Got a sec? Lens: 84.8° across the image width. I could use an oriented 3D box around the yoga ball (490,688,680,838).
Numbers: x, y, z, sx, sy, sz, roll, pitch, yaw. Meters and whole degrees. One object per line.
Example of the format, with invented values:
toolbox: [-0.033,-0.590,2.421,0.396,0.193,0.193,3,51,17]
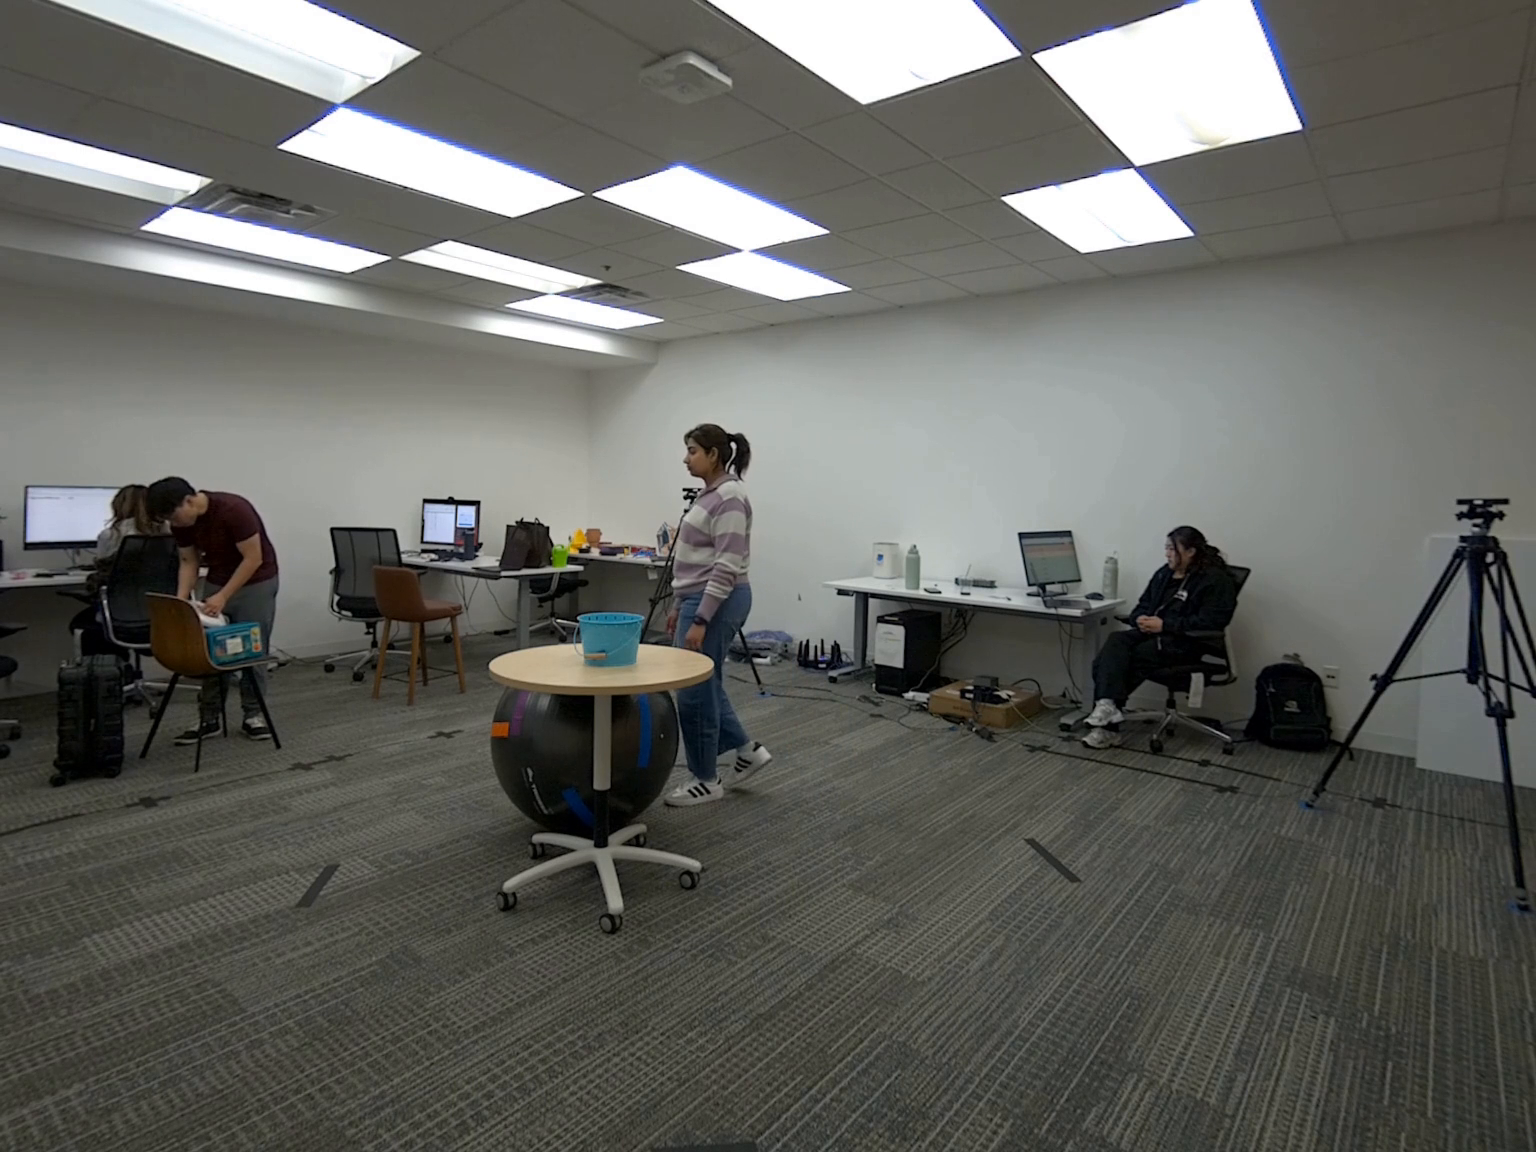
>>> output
yoga ball: [-0.764,0.655,3.471,0.757,0.755,0.762,1,4,-2]
